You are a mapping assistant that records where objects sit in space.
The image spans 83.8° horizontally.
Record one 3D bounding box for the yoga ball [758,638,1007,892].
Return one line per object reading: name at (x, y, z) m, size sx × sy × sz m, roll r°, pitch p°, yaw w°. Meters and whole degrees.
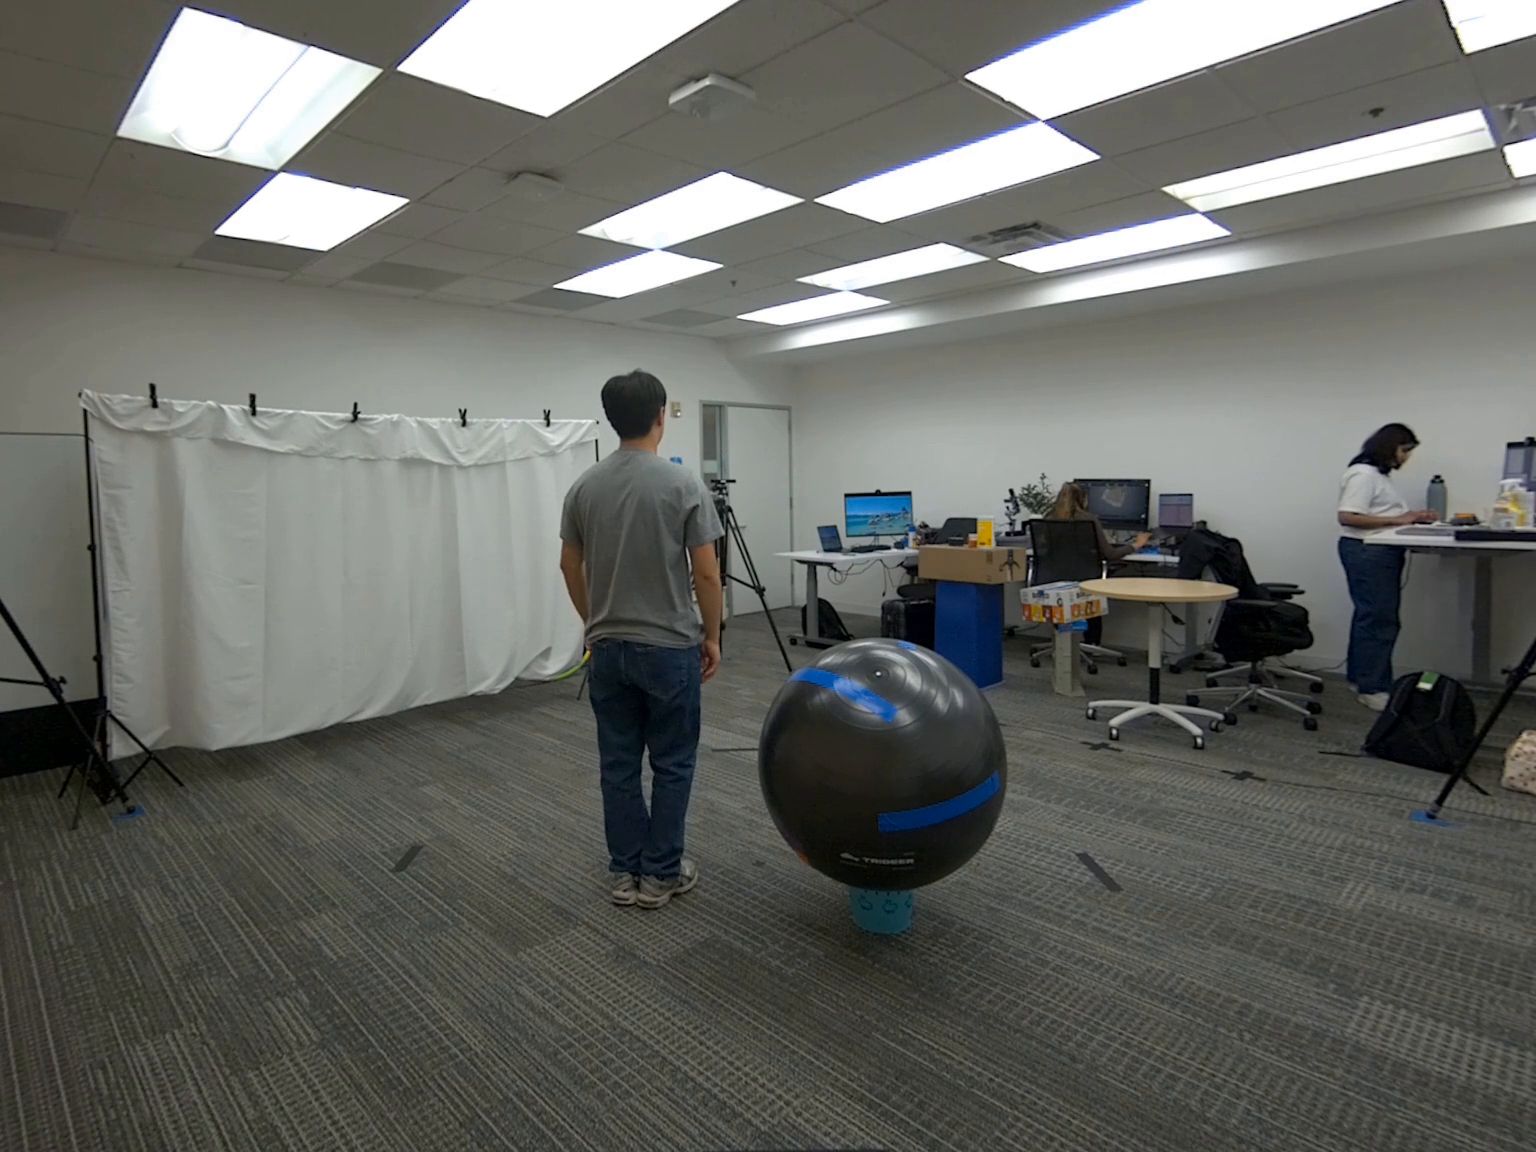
yoga ball at (0.360, 0.588, 2.656) m, size 0.757 × 0.755 × 0.762 m, roll -1°, pitch 5°, yaw -2°
